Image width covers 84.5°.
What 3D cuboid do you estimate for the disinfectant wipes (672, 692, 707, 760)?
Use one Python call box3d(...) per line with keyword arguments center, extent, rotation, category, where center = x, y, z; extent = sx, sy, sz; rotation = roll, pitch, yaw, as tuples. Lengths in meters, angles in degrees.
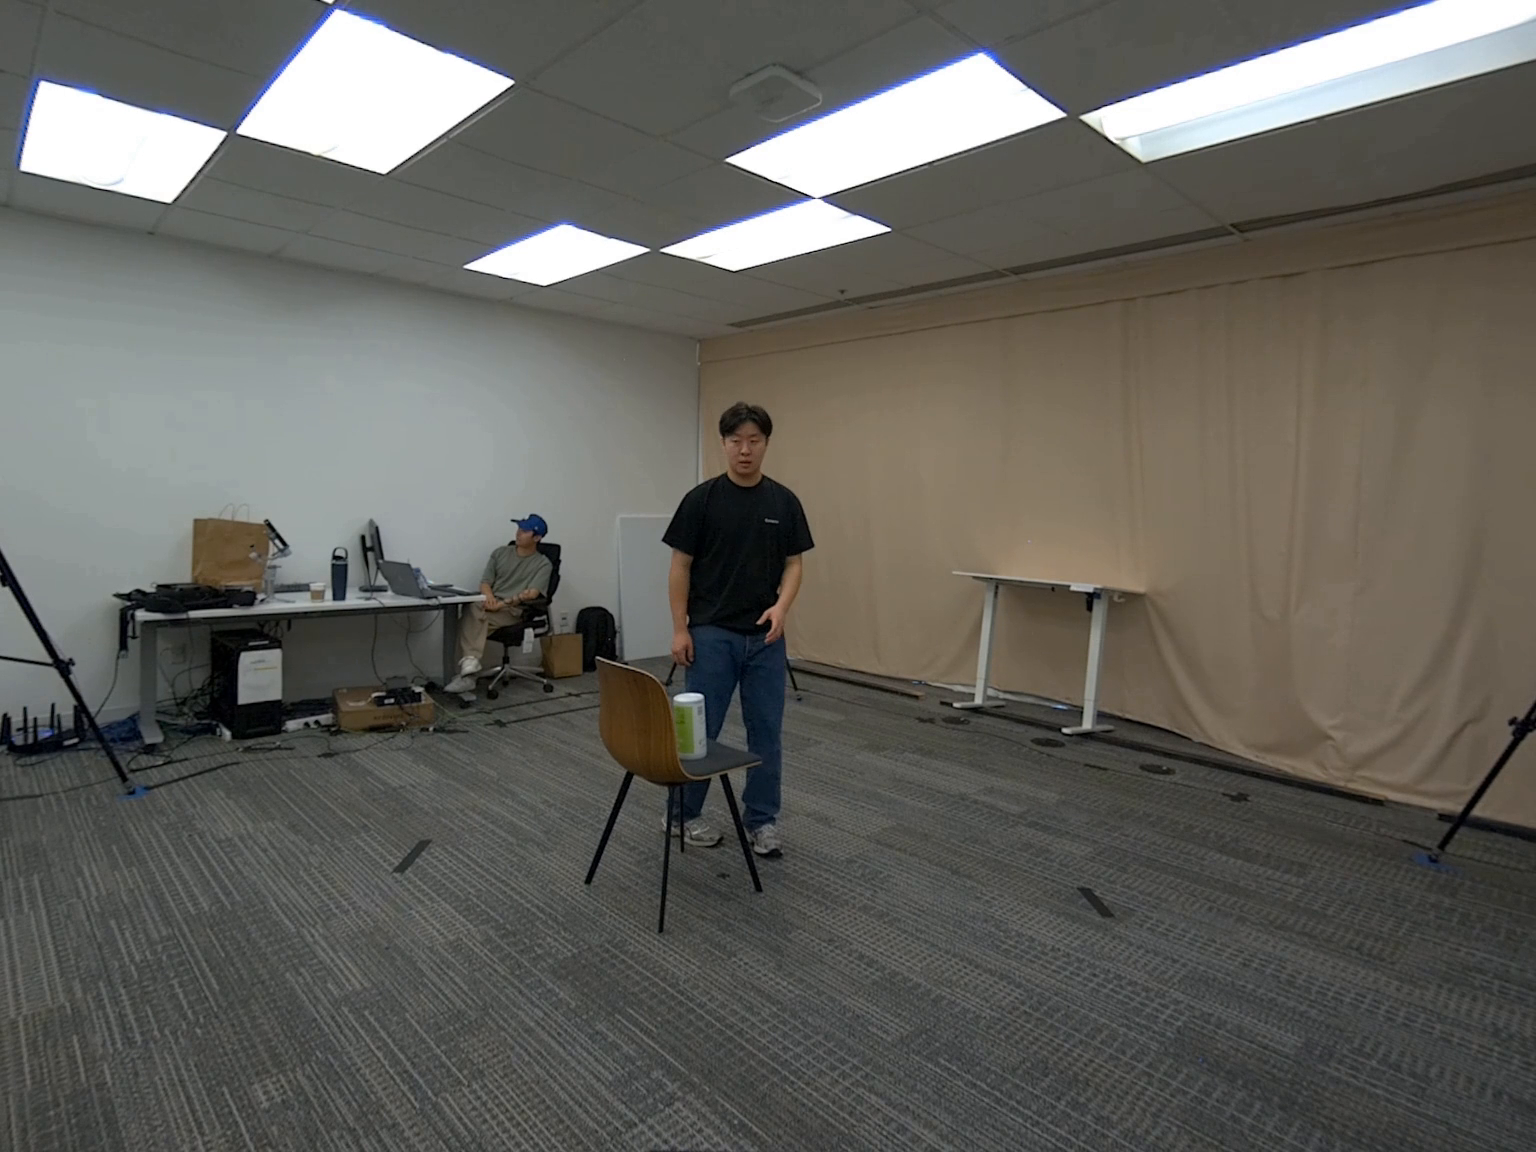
box3d(center=(-0.280, 0.532, 2.975), extent=(0.118, 0.217, 0.118), rotation=(-2, 4, -1), category="disinfectant wipes")
